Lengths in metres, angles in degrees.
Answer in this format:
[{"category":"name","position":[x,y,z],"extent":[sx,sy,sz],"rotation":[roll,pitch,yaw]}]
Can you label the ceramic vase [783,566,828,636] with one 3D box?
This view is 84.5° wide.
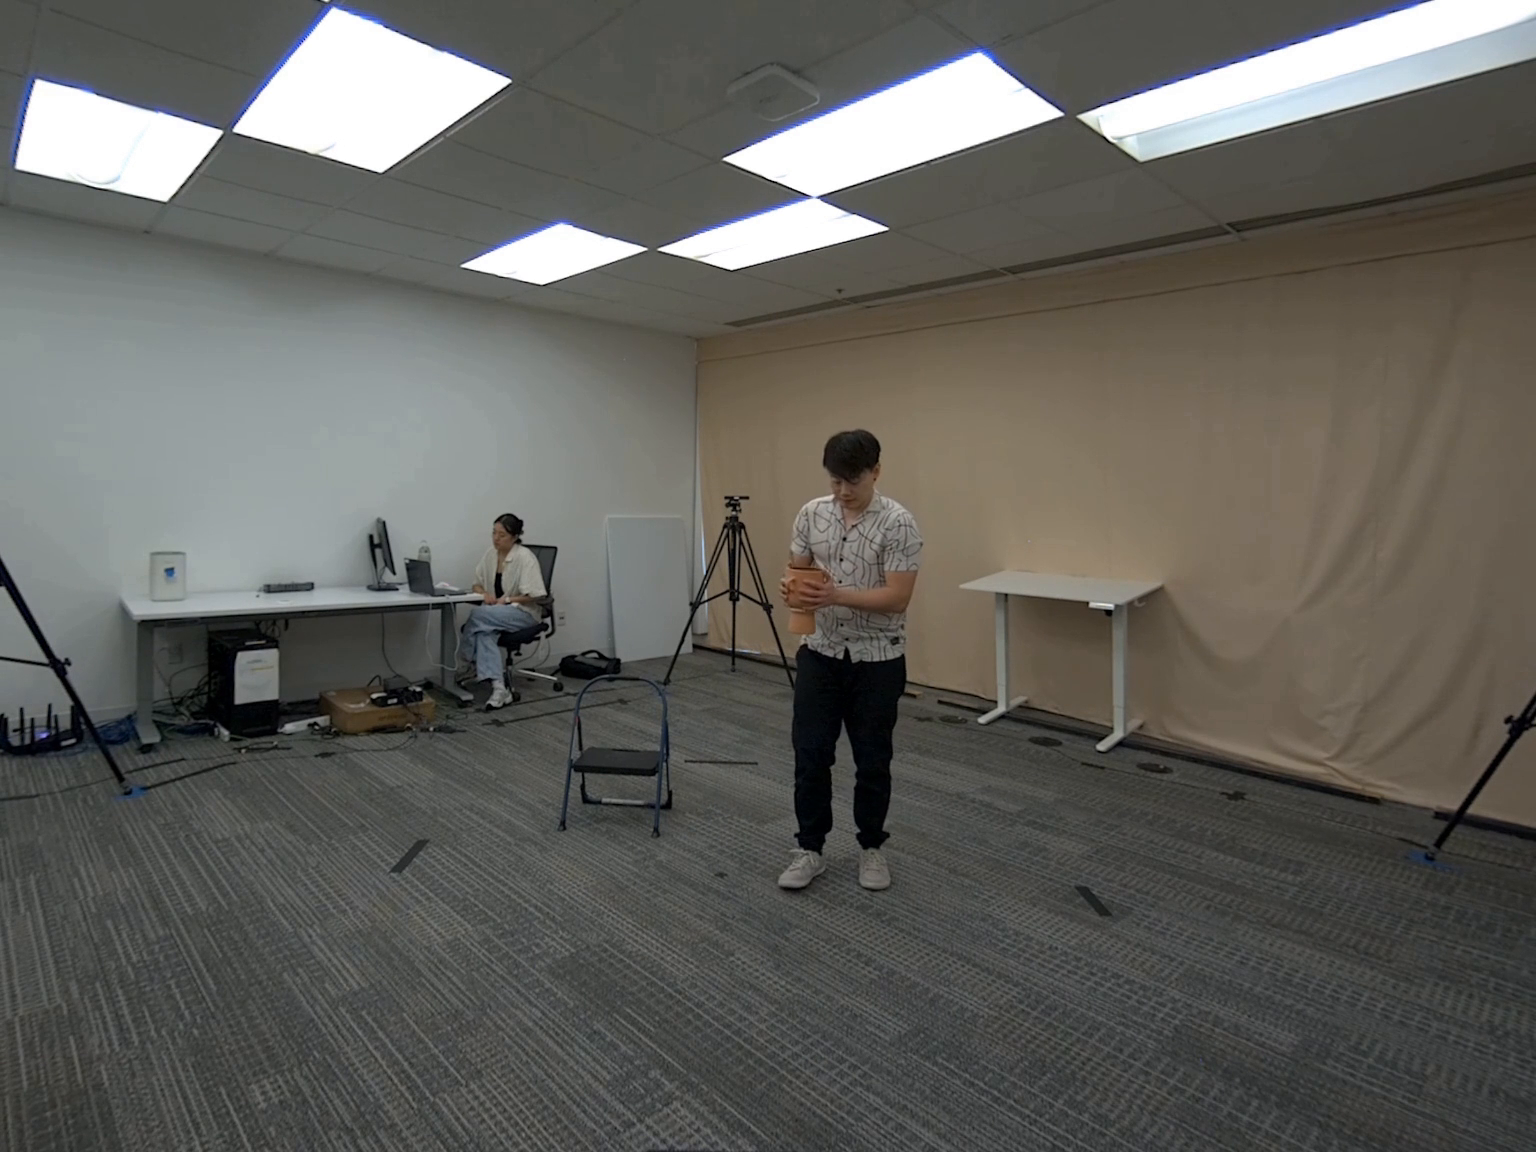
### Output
[{"category":"ceramic vase","position":[0.119,0.082,2.903],"extent":[0.156,0.219,0.137],"rotation":[2,5,-18]}]
